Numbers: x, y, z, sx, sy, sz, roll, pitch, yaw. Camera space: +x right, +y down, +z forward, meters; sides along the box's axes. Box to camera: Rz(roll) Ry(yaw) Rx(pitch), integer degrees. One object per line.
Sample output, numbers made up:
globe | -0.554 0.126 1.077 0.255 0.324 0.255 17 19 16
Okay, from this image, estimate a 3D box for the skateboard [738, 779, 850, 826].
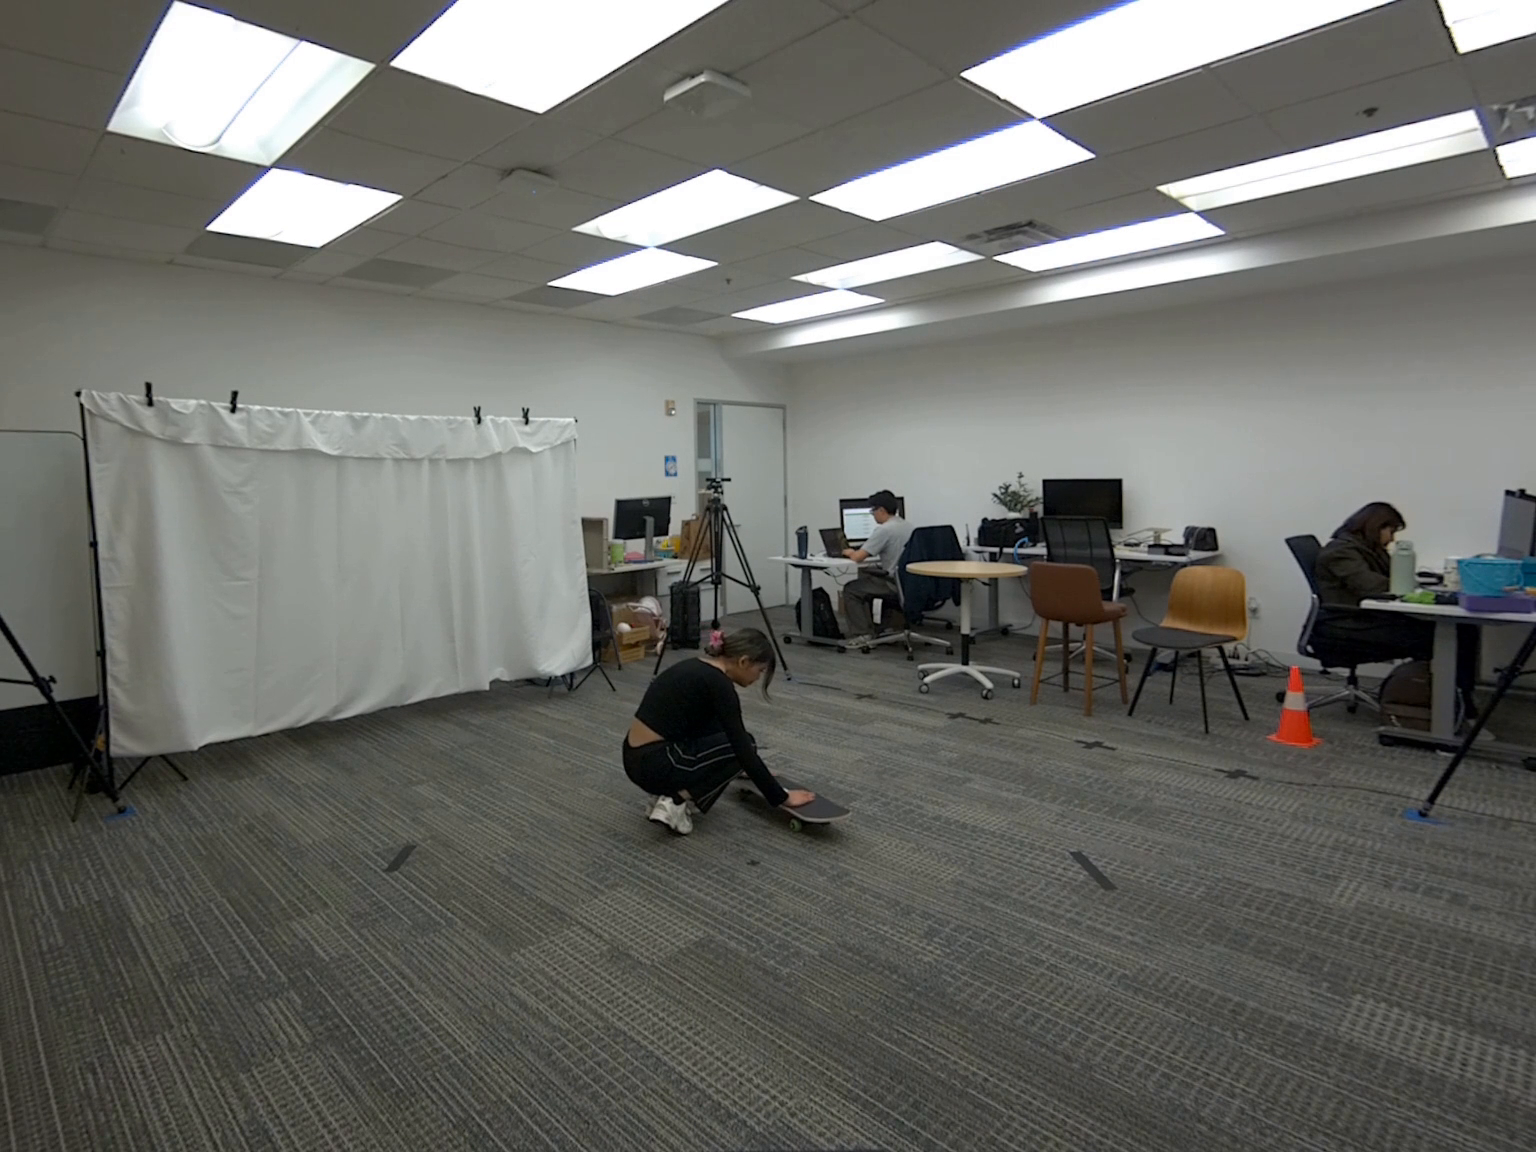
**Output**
skateboard | 0.063 0.925 3.577 0.189 0.110 0.808 -3 6 -32
